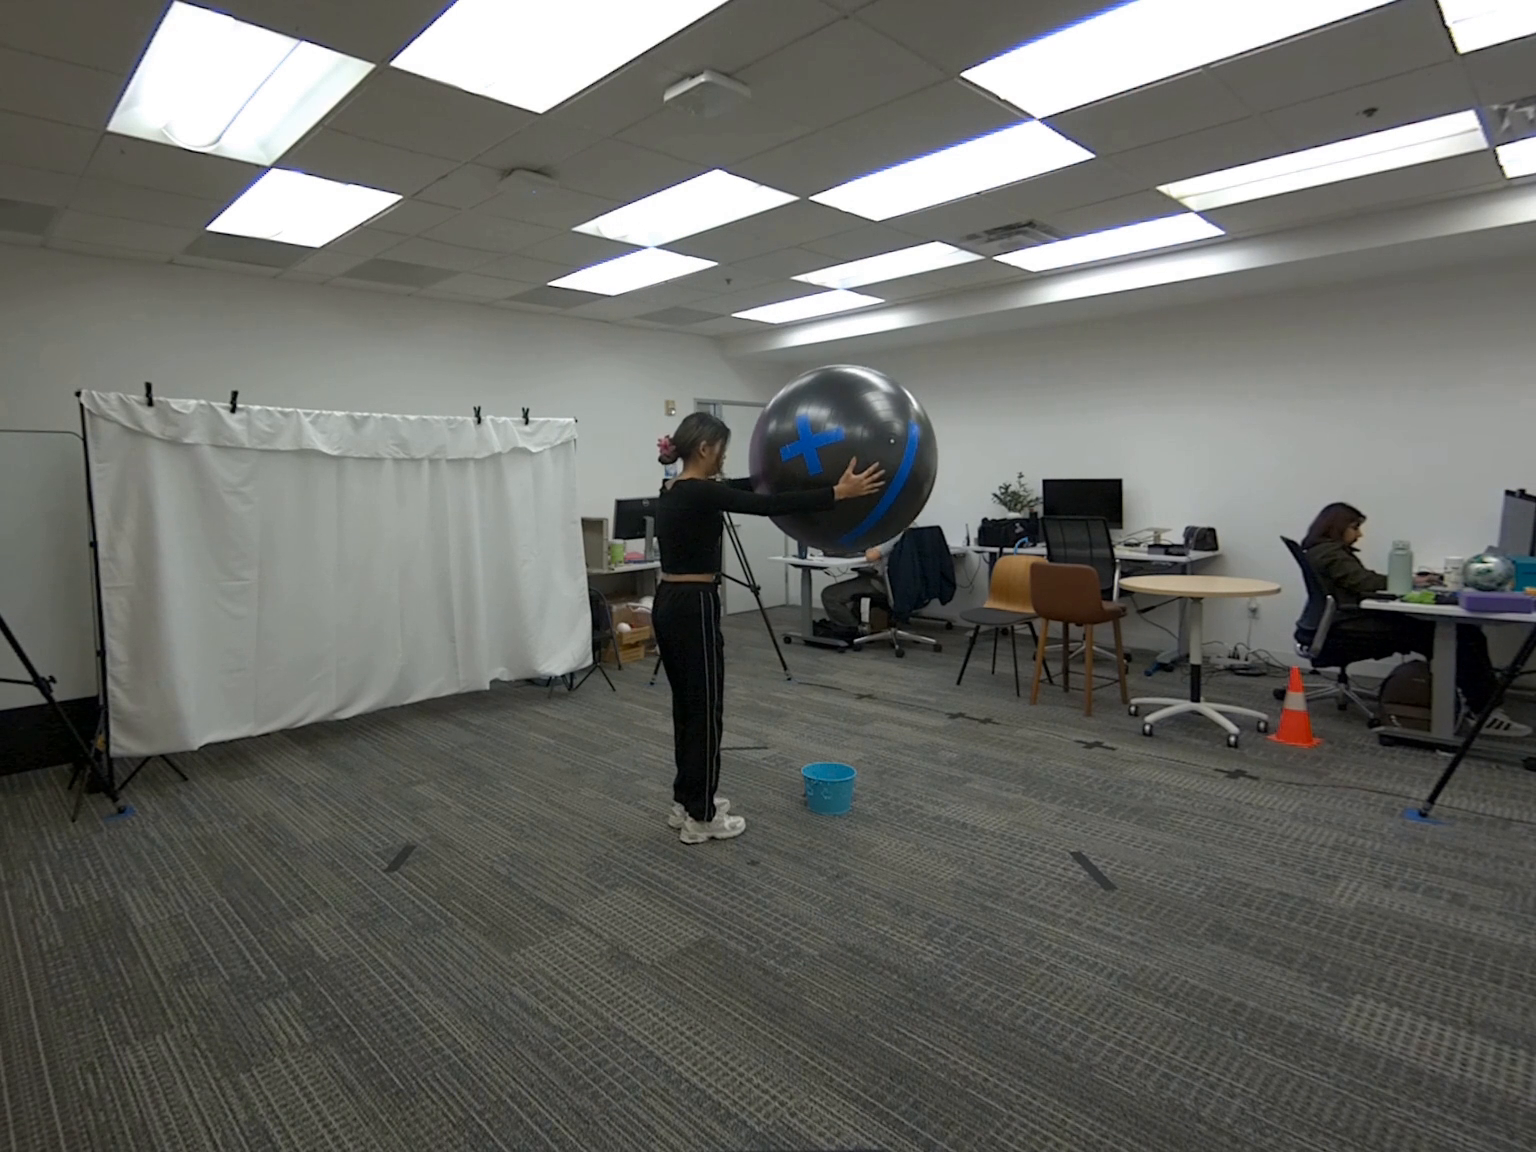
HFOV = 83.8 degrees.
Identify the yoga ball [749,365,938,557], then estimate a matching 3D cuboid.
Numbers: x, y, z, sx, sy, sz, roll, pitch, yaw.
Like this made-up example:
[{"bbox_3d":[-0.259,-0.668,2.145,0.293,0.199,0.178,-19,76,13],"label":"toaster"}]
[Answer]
[{"bbox_3d":[0.306,-0.467,3.480,0.757,0.755,0.762,-1,5,-2],"label":"yoga ball"}]
